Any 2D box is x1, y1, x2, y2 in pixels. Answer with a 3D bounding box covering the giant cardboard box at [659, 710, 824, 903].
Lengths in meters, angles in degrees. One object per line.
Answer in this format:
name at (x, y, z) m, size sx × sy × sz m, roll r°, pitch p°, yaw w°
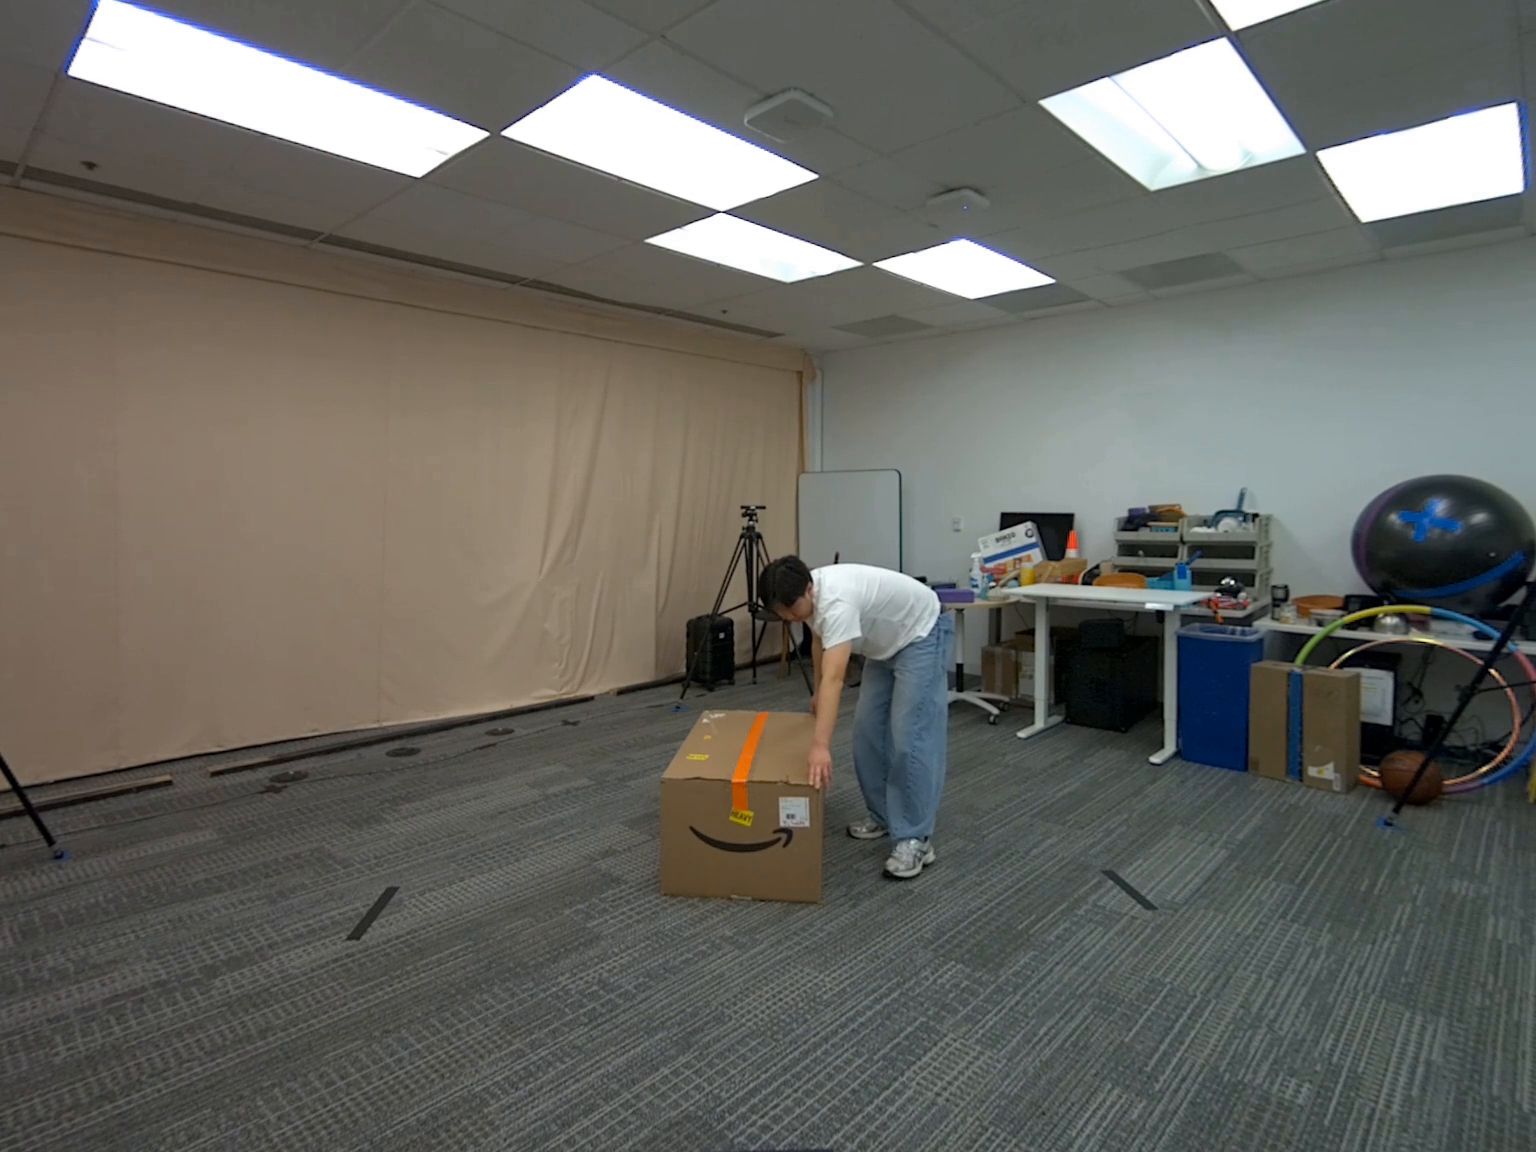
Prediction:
giant cardboard box at (-0.058, 0.887, 3.469) m, size 0.582 × 0.425 × 1.021 m, roll 0°, pitch 5°, yaw 6°
